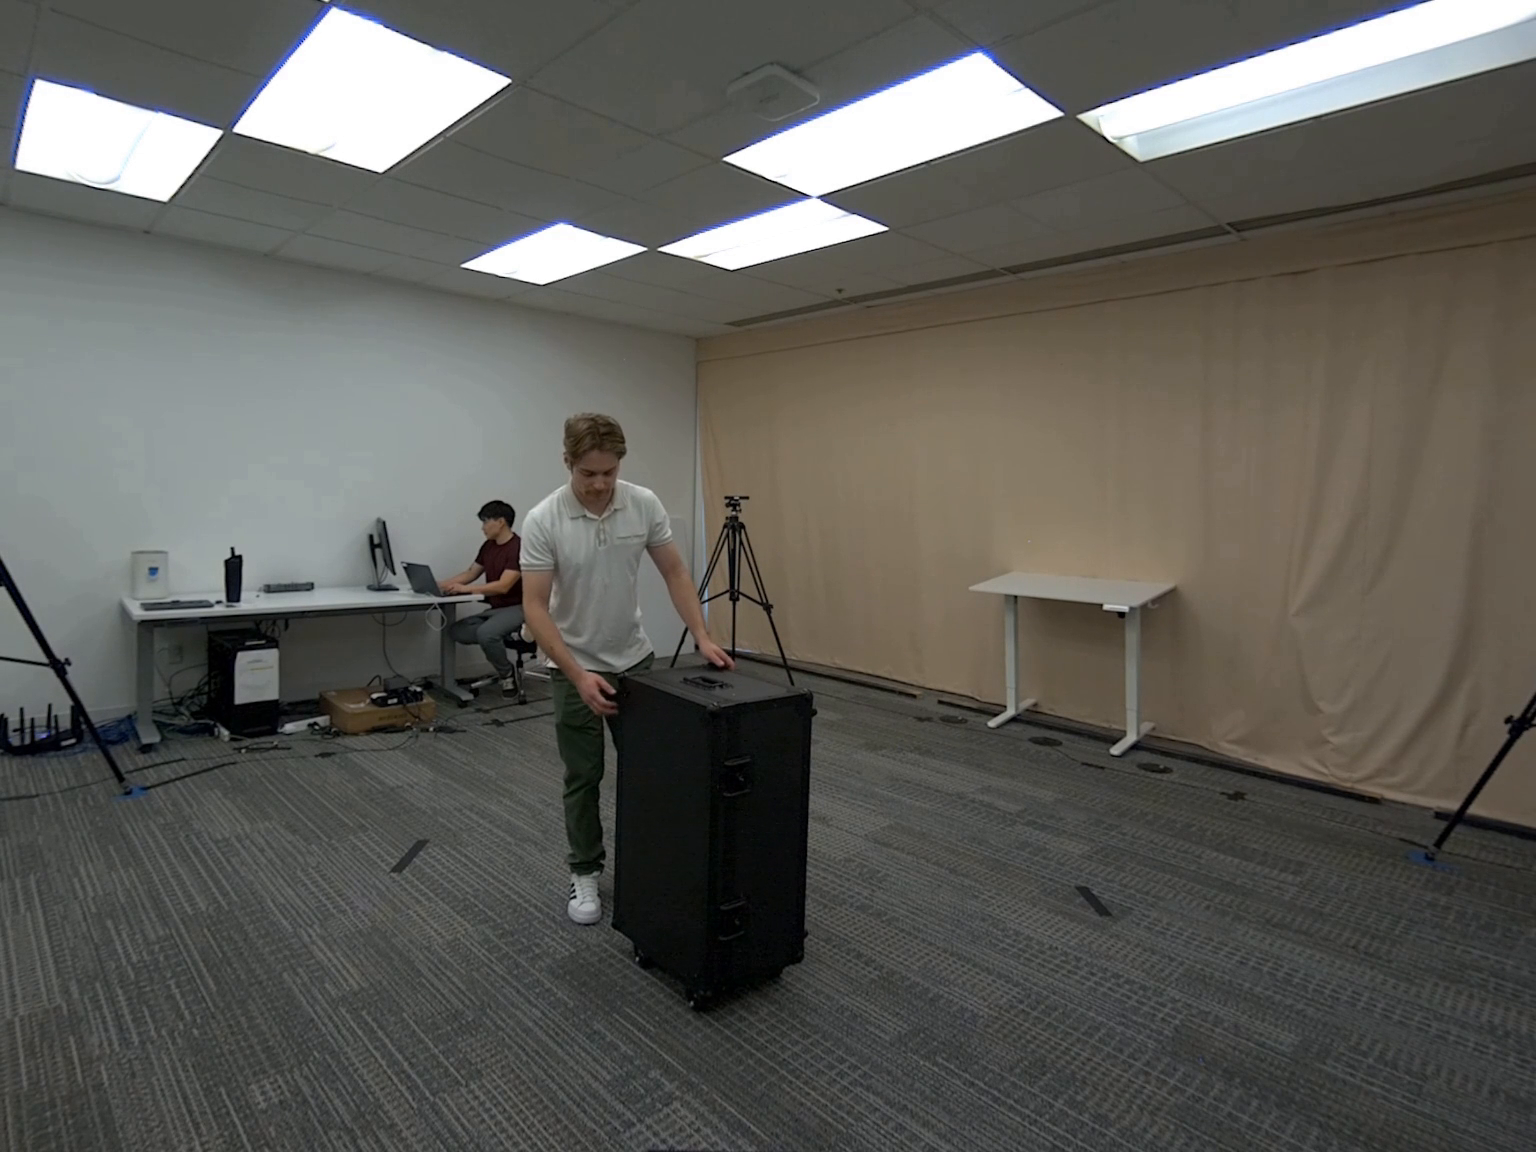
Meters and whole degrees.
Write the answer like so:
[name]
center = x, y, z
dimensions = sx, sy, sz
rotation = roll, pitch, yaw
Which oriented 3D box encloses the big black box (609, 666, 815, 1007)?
[big black box]
center = -0.167, 0.742, 2.467
dimensions = 0.387, 0.860, 0.534
rotation = 0, 3, -40
